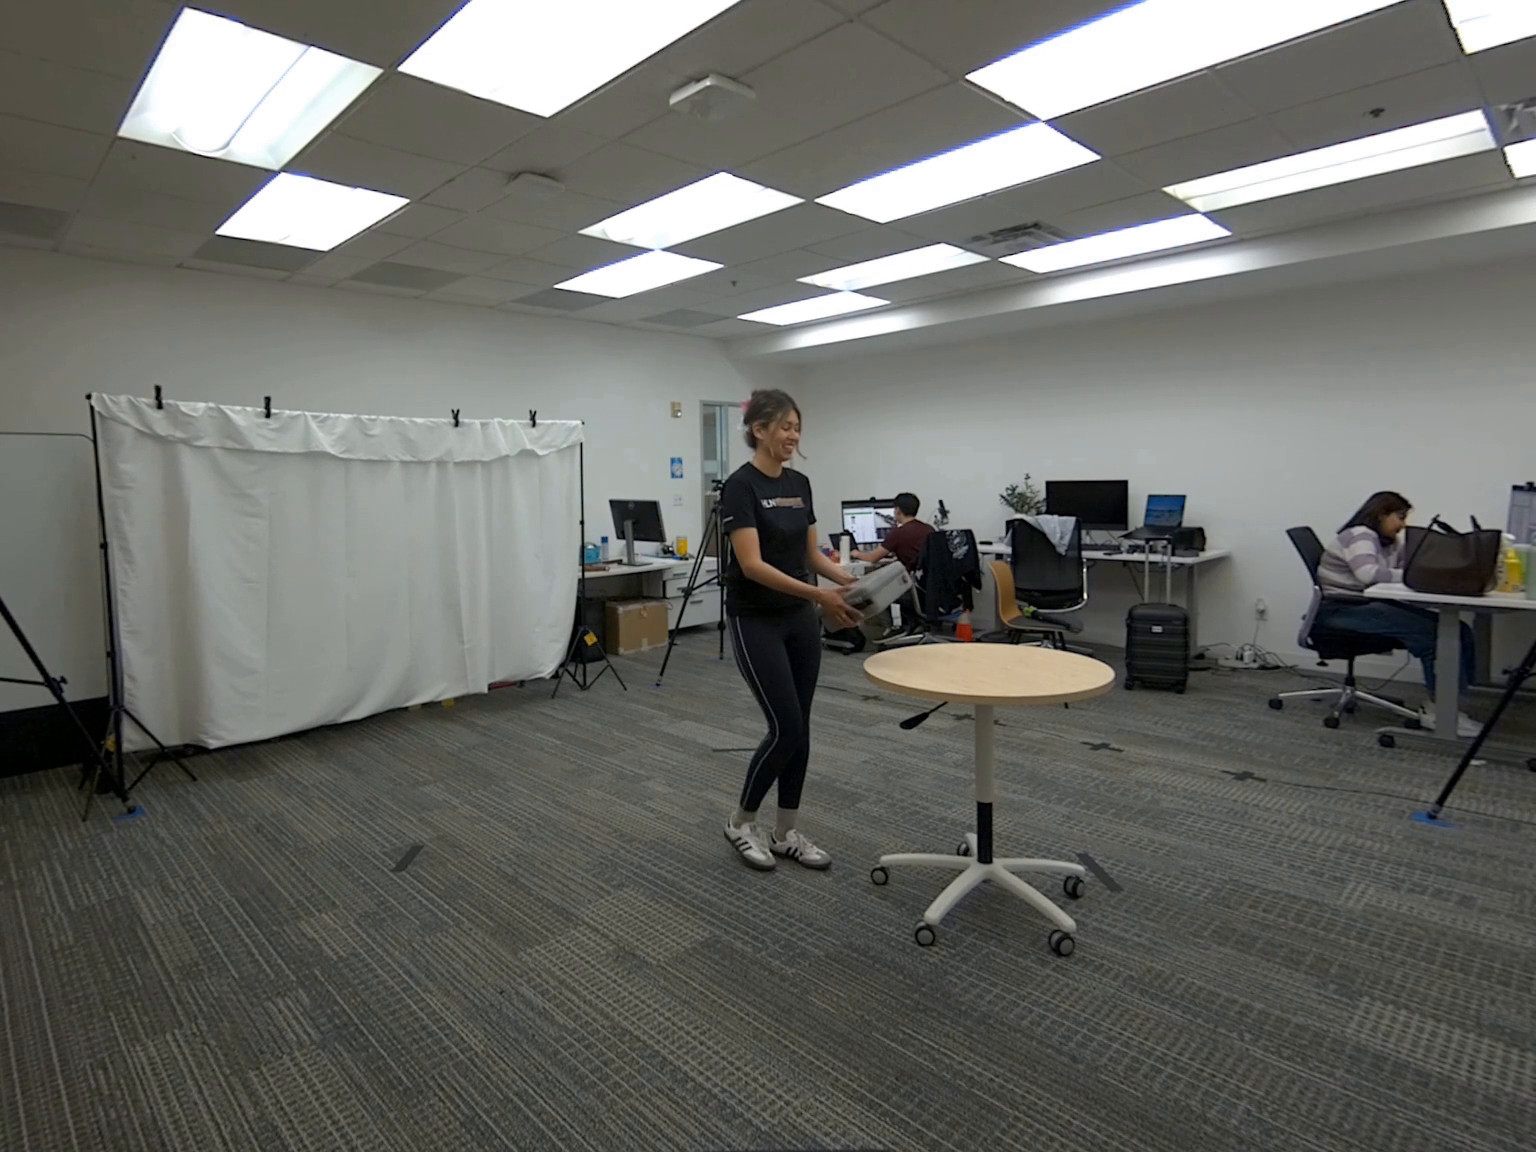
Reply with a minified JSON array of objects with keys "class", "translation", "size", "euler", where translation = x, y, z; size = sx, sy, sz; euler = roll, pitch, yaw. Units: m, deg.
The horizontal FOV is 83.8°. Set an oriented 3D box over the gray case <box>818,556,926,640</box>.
[{"class":"gray case","translation":[0.341,0.072,2.877],"size":[0.257,0.104,0.259],"euler":[-31,0,-42]}]
